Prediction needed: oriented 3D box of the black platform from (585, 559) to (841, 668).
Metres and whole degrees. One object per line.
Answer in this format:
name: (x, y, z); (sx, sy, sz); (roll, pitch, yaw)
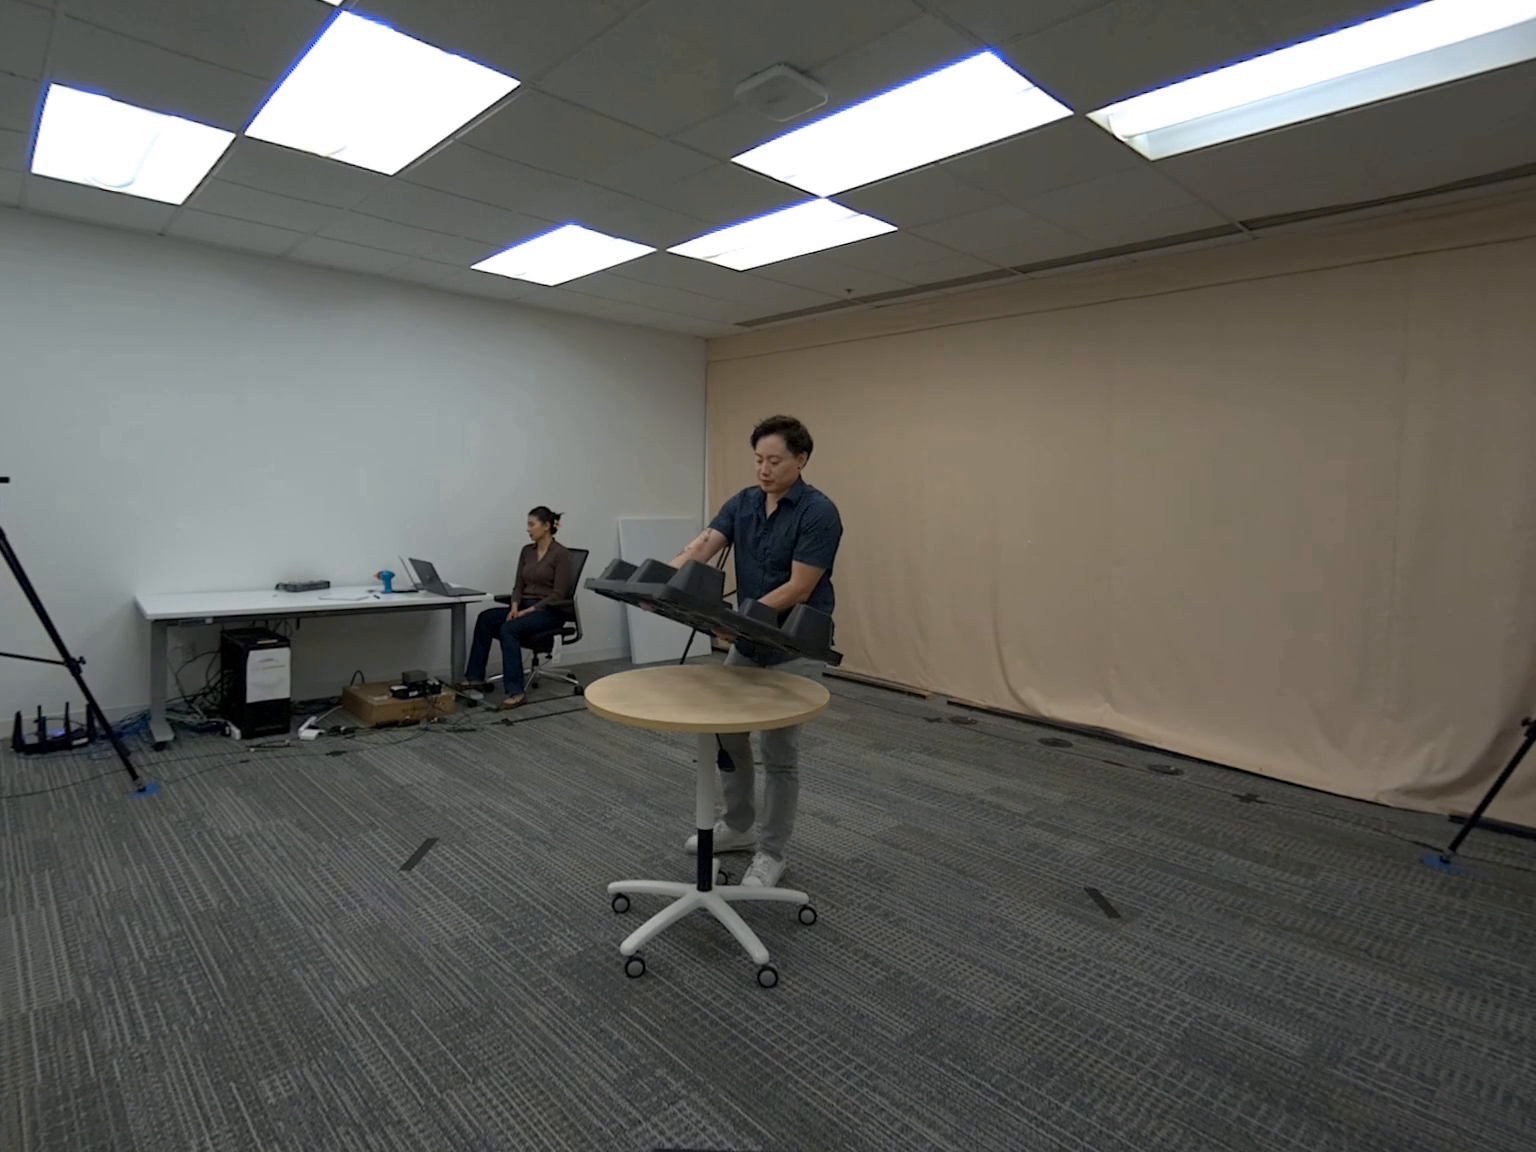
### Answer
black platform: (-0.204, 0.095, 2.701); (0.591, 0.144, 0.821); (24, -10, -25)
